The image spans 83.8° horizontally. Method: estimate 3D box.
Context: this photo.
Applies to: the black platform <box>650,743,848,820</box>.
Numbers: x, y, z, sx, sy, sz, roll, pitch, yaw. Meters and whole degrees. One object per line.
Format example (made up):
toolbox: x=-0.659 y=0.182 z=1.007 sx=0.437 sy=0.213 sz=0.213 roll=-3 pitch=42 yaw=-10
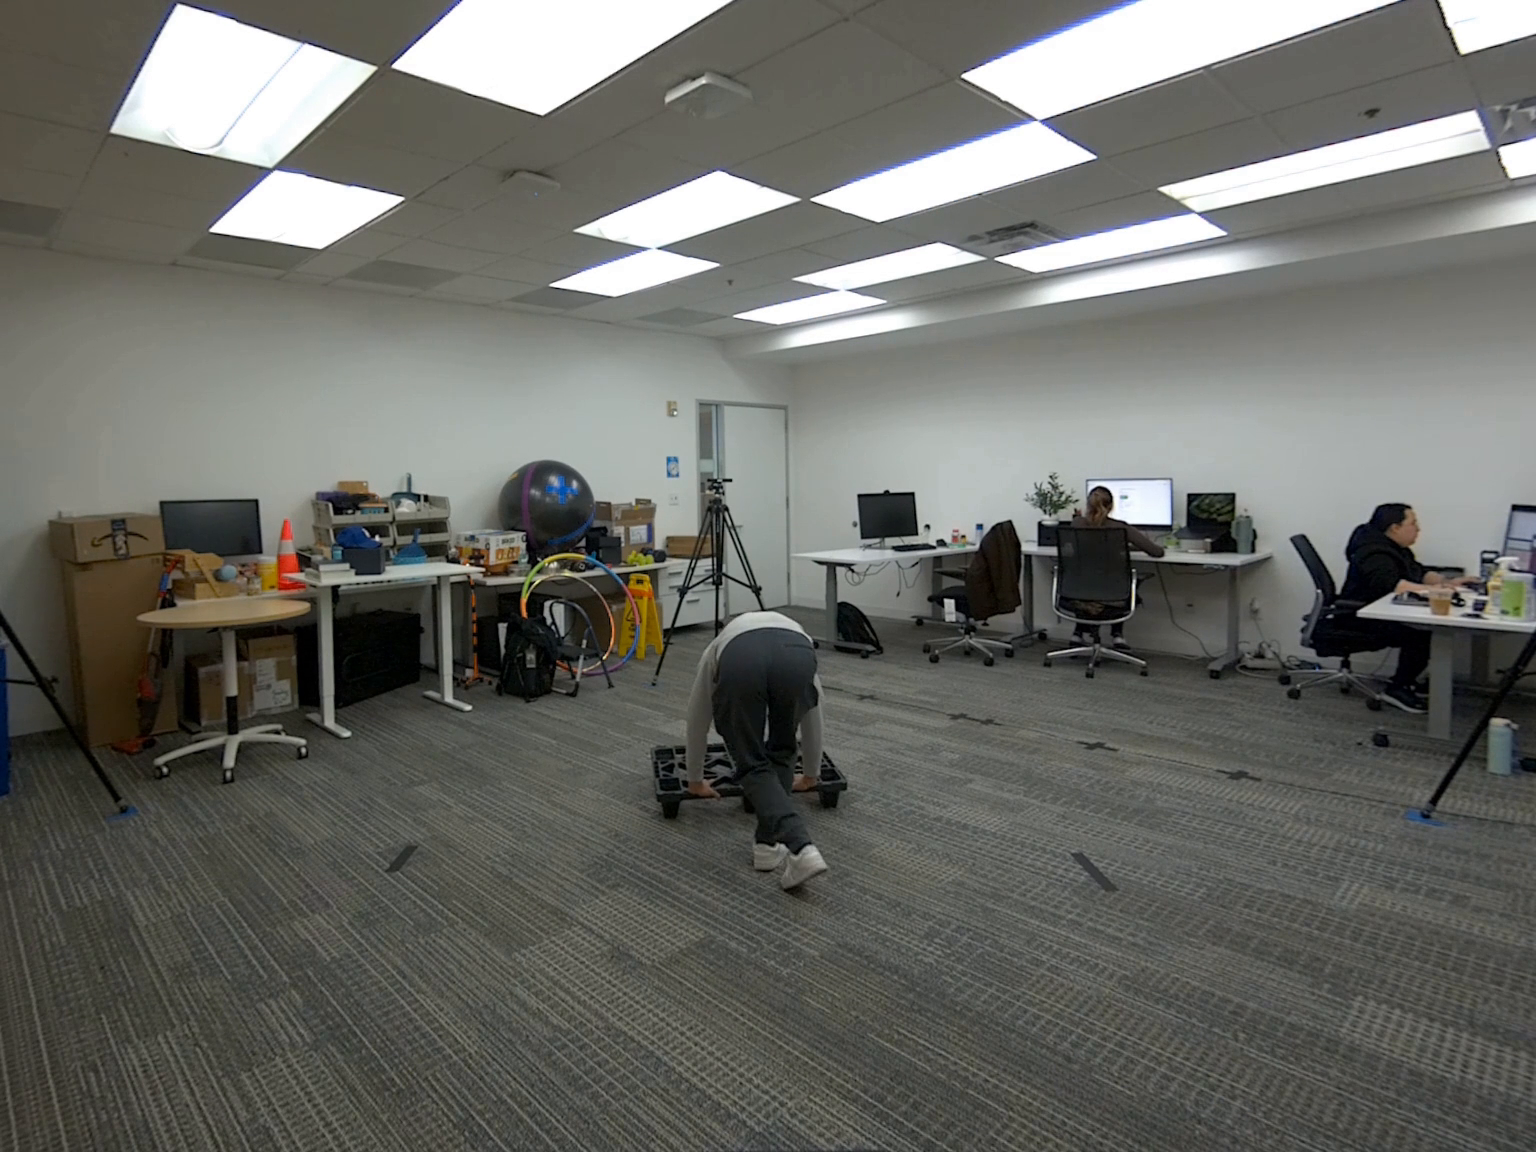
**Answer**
black platform: x=-0.107 y=0.895 z=3.806 sx=0.800 sy=0.143 sz=0.612 roll=-2 pitch=6 yaw=-7
